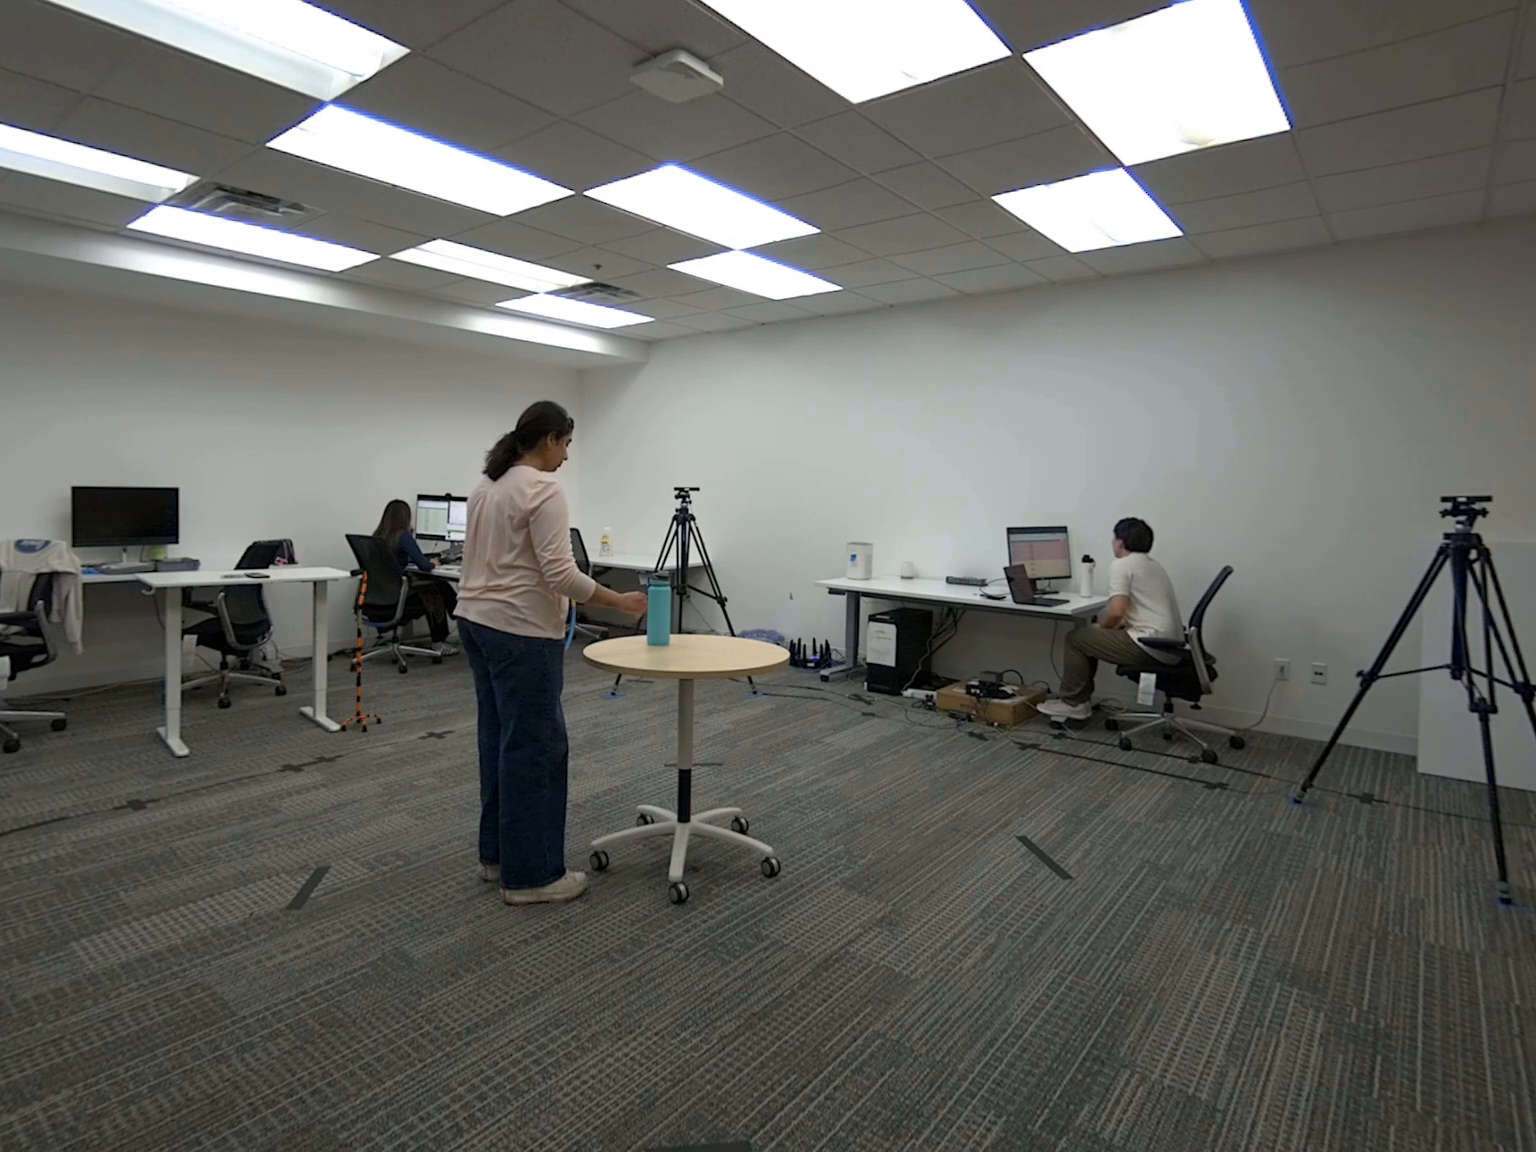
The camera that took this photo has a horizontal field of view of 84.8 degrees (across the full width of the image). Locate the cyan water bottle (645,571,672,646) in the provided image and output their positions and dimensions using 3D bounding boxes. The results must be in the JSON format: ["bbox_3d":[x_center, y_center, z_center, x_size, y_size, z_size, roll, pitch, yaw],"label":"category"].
[{"bbox_3d":[-0.438,0.123,3.301,0.092,0.283,0.092,1,2,-2],"label":"cyan water bottle"}]
